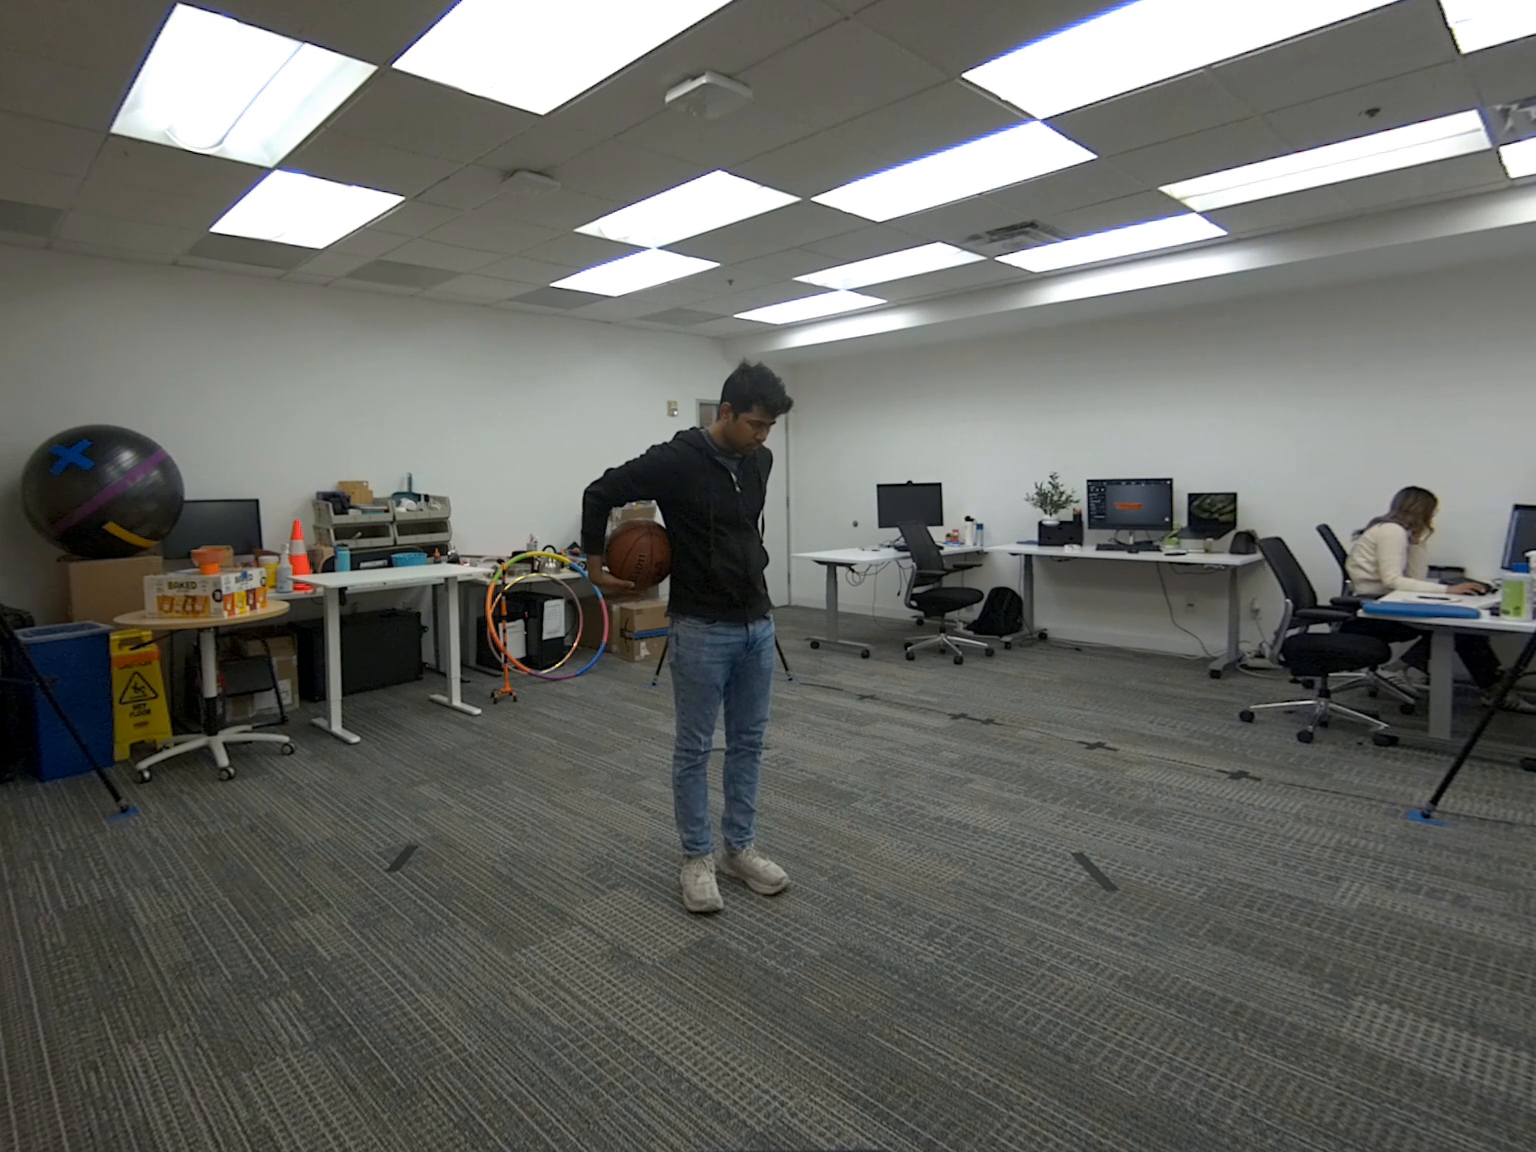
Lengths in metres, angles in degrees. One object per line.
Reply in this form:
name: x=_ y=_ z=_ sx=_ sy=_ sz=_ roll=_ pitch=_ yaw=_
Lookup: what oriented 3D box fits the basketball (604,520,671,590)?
basketball: x=-0.419 y=-0.082 z=2.870 sx=0.236 sy=0.235 sz=0.237 roll=-1 pitch=5 yaw=-2
